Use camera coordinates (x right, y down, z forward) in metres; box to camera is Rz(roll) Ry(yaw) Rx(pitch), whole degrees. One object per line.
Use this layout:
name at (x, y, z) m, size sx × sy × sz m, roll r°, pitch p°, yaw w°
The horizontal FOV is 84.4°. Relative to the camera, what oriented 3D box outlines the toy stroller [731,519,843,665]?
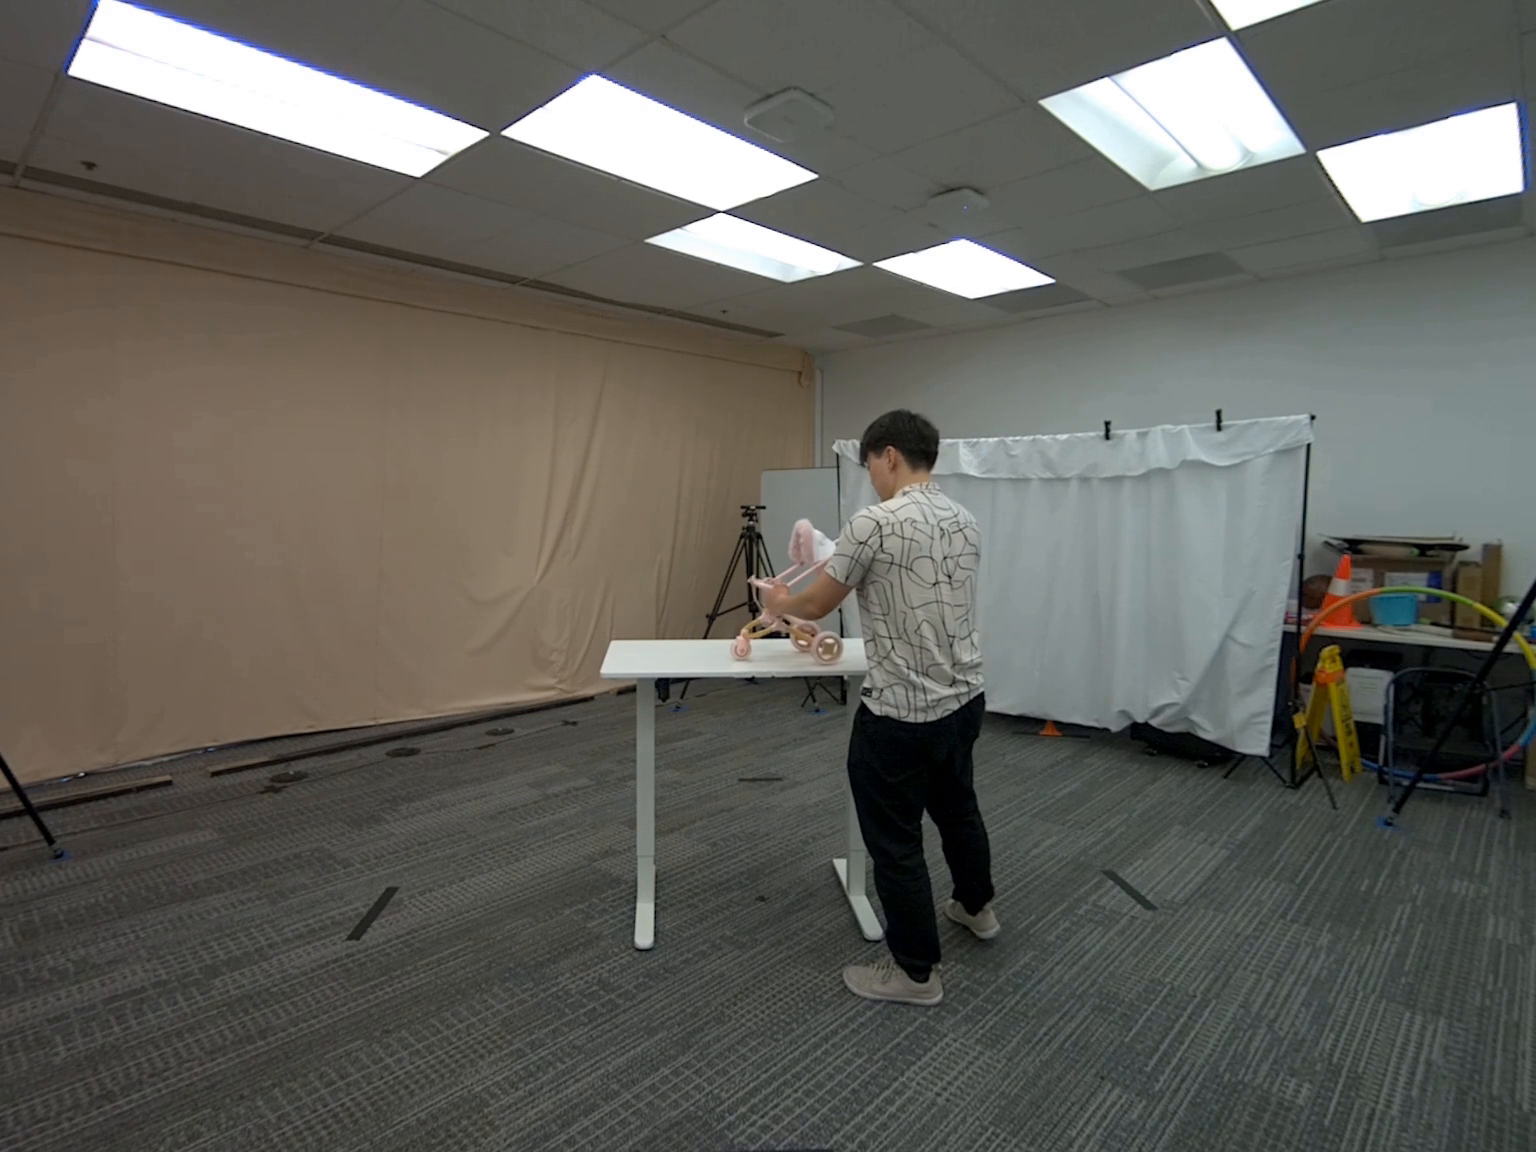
toy stroller at (0.100, 0.056, 2.797) m, size 0.339 × 0.534 × 0.284 m, roll 14°, pitch 2°, yaw -7°
